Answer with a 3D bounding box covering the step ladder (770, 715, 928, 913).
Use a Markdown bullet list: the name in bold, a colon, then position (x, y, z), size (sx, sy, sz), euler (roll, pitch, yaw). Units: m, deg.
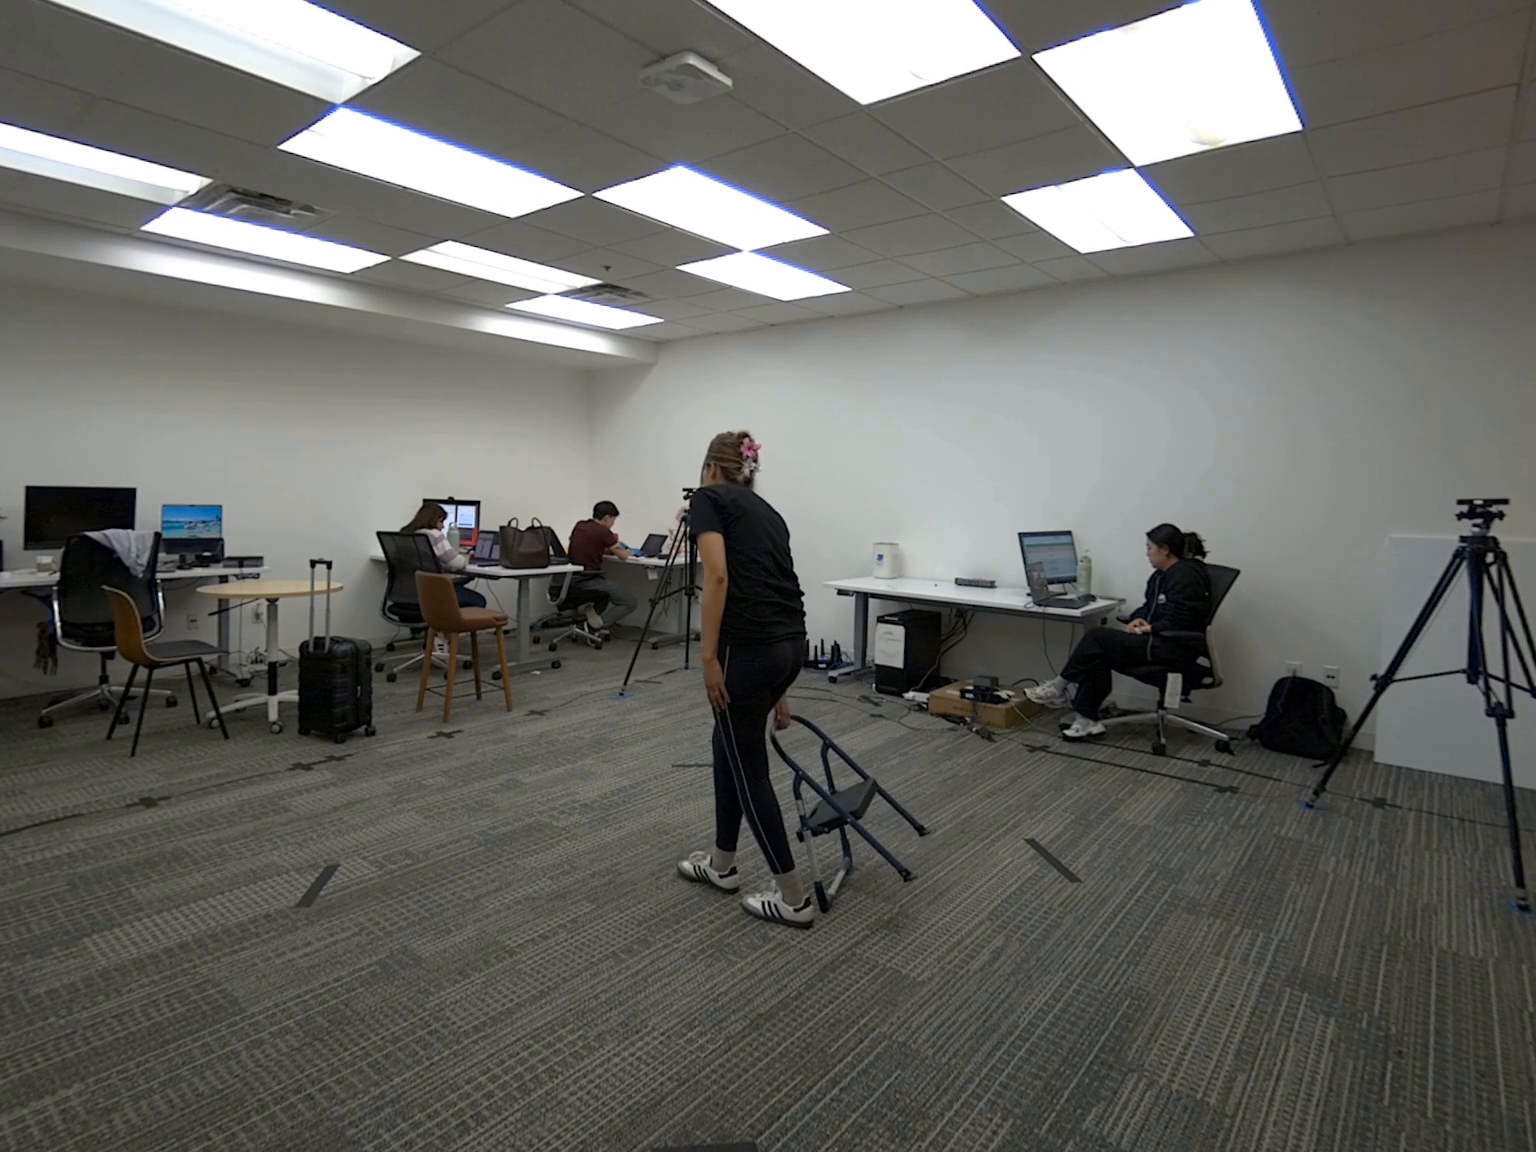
- **step ladder**: position (0.239, 0.751, 2.985), size (0.352, 0.613, 0.423), euler (-30, -7, 18)
